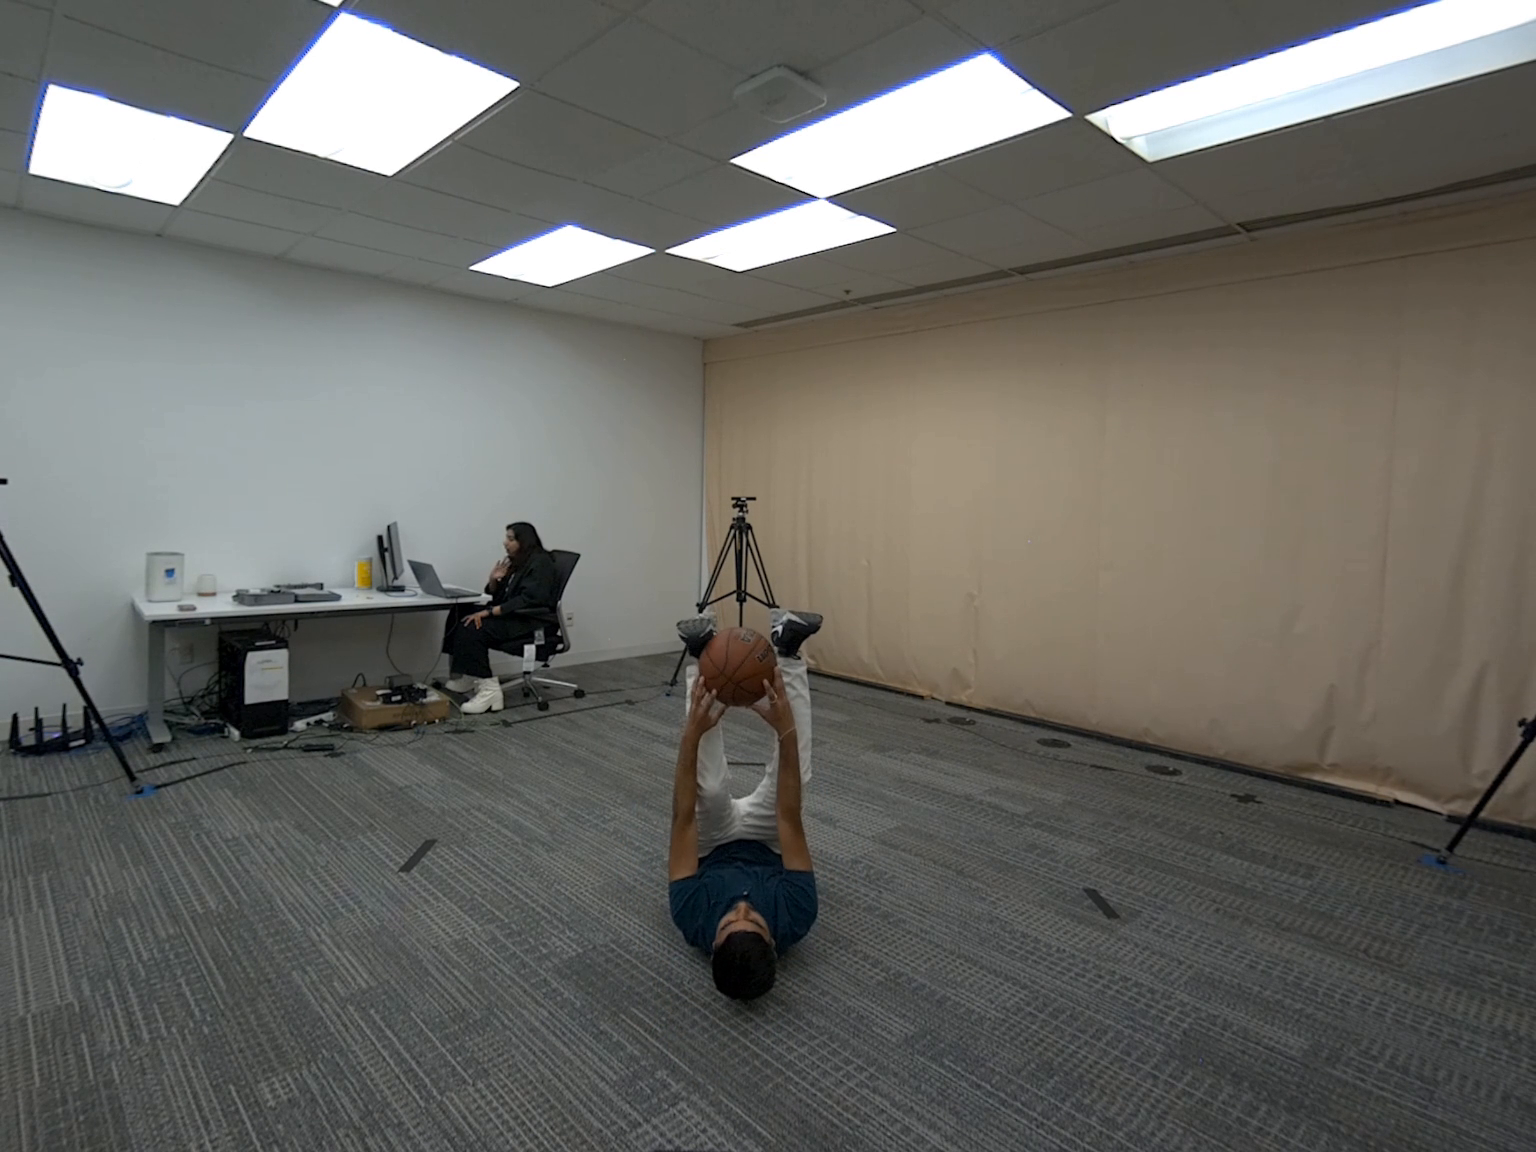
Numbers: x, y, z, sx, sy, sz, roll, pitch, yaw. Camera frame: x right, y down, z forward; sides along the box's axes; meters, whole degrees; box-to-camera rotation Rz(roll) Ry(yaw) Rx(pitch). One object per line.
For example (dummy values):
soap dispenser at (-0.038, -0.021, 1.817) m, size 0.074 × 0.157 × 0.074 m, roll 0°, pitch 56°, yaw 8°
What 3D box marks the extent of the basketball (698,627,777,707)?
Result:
basketball at (-0.090, 0.271, 2.558) m, size 0.236 × 0.235 × 0.237 m, roll 1°, pitch 4°, yaw -1°
